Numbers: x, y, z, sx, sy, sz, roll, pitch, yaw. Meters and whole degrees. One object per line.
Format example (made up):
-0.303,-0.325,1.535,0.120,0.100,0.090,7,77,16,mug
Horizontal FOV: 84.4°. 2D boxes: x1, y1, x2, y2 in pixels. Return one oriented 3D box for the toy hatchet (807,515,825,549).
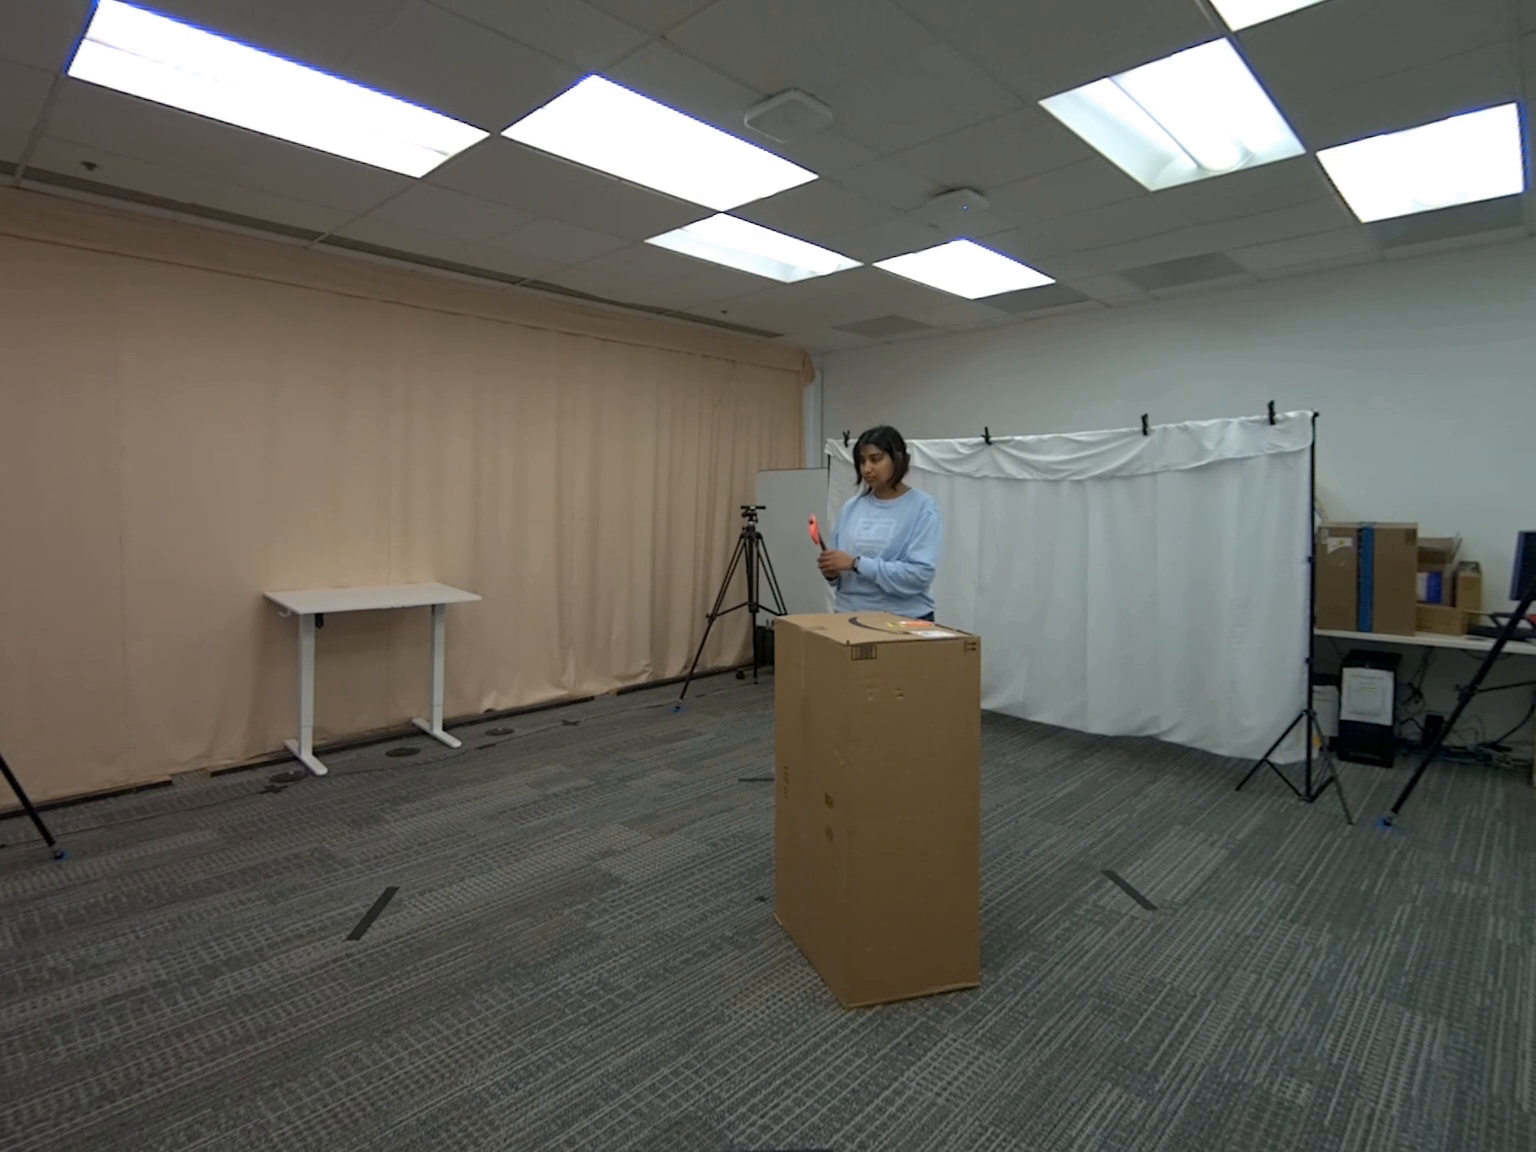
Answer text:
0.221,-0.106,3.242,0.030,0.265,0.131,-18,19,17,toy hatchet
